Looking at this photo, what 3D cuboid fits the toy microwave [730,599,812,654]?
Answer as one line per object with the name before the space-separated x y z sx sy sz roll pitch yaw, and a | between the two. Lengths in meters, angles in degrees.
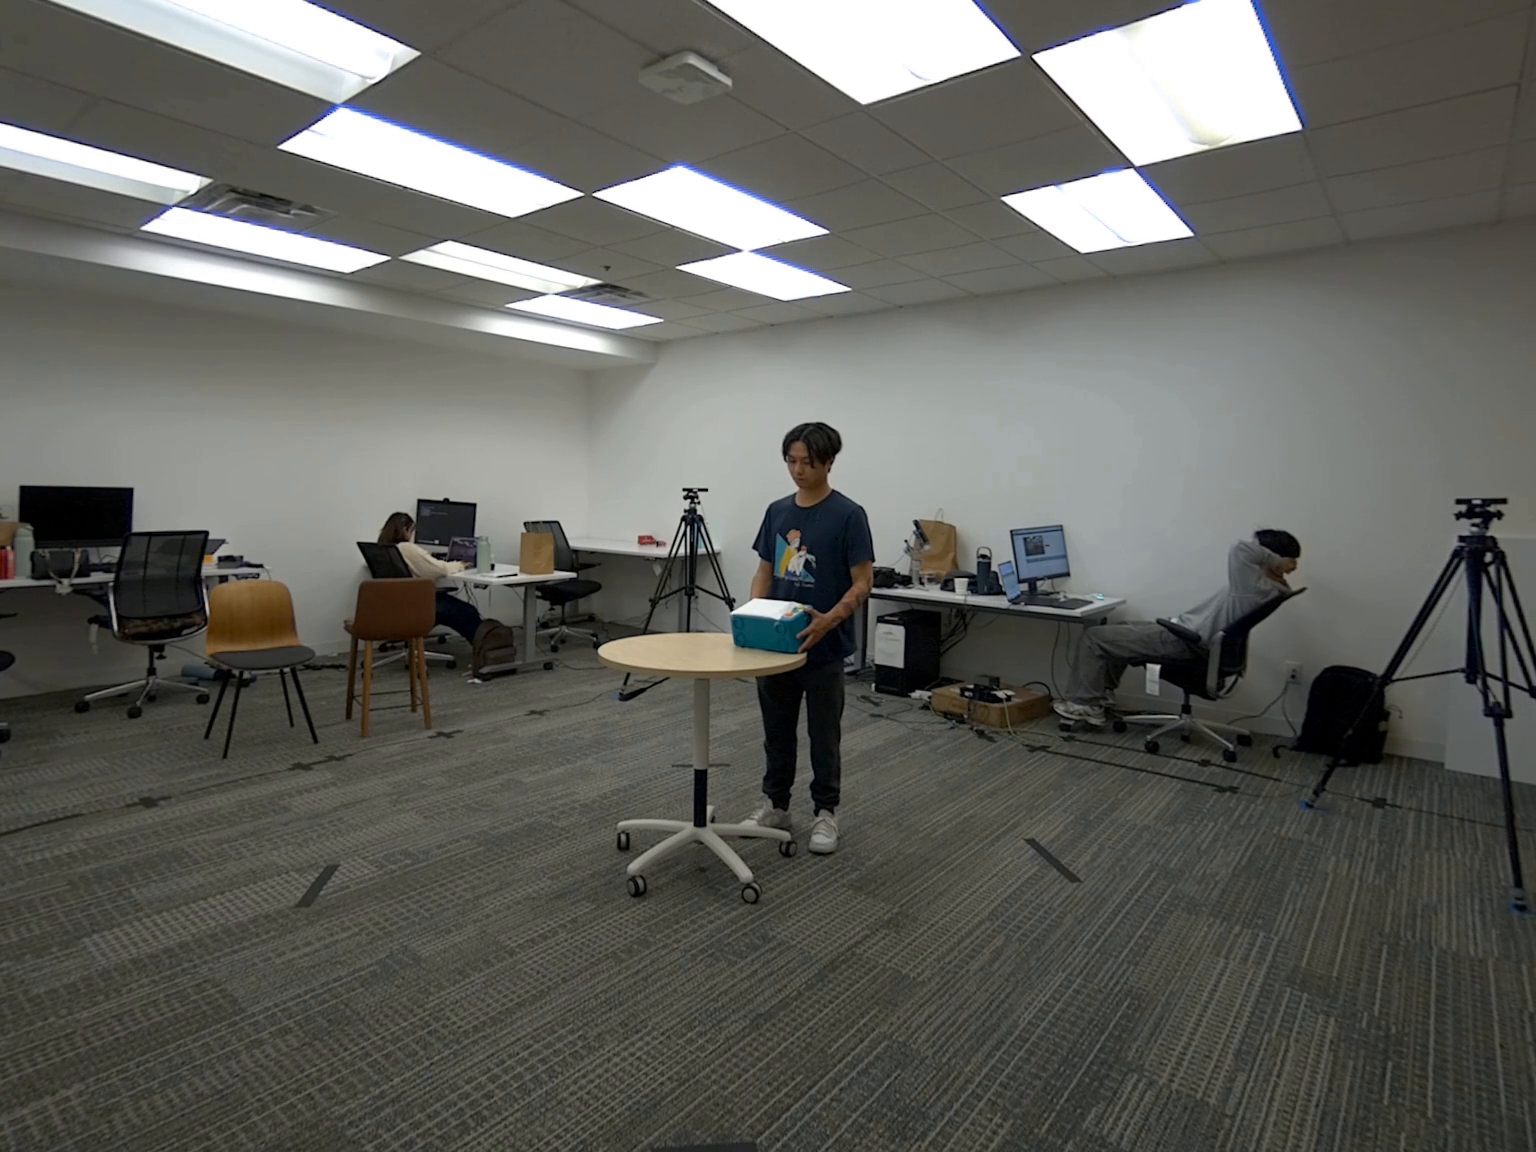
toy microwave | -0.003 0.177 3.176 0.295 0.150 0.181 2 18 37
